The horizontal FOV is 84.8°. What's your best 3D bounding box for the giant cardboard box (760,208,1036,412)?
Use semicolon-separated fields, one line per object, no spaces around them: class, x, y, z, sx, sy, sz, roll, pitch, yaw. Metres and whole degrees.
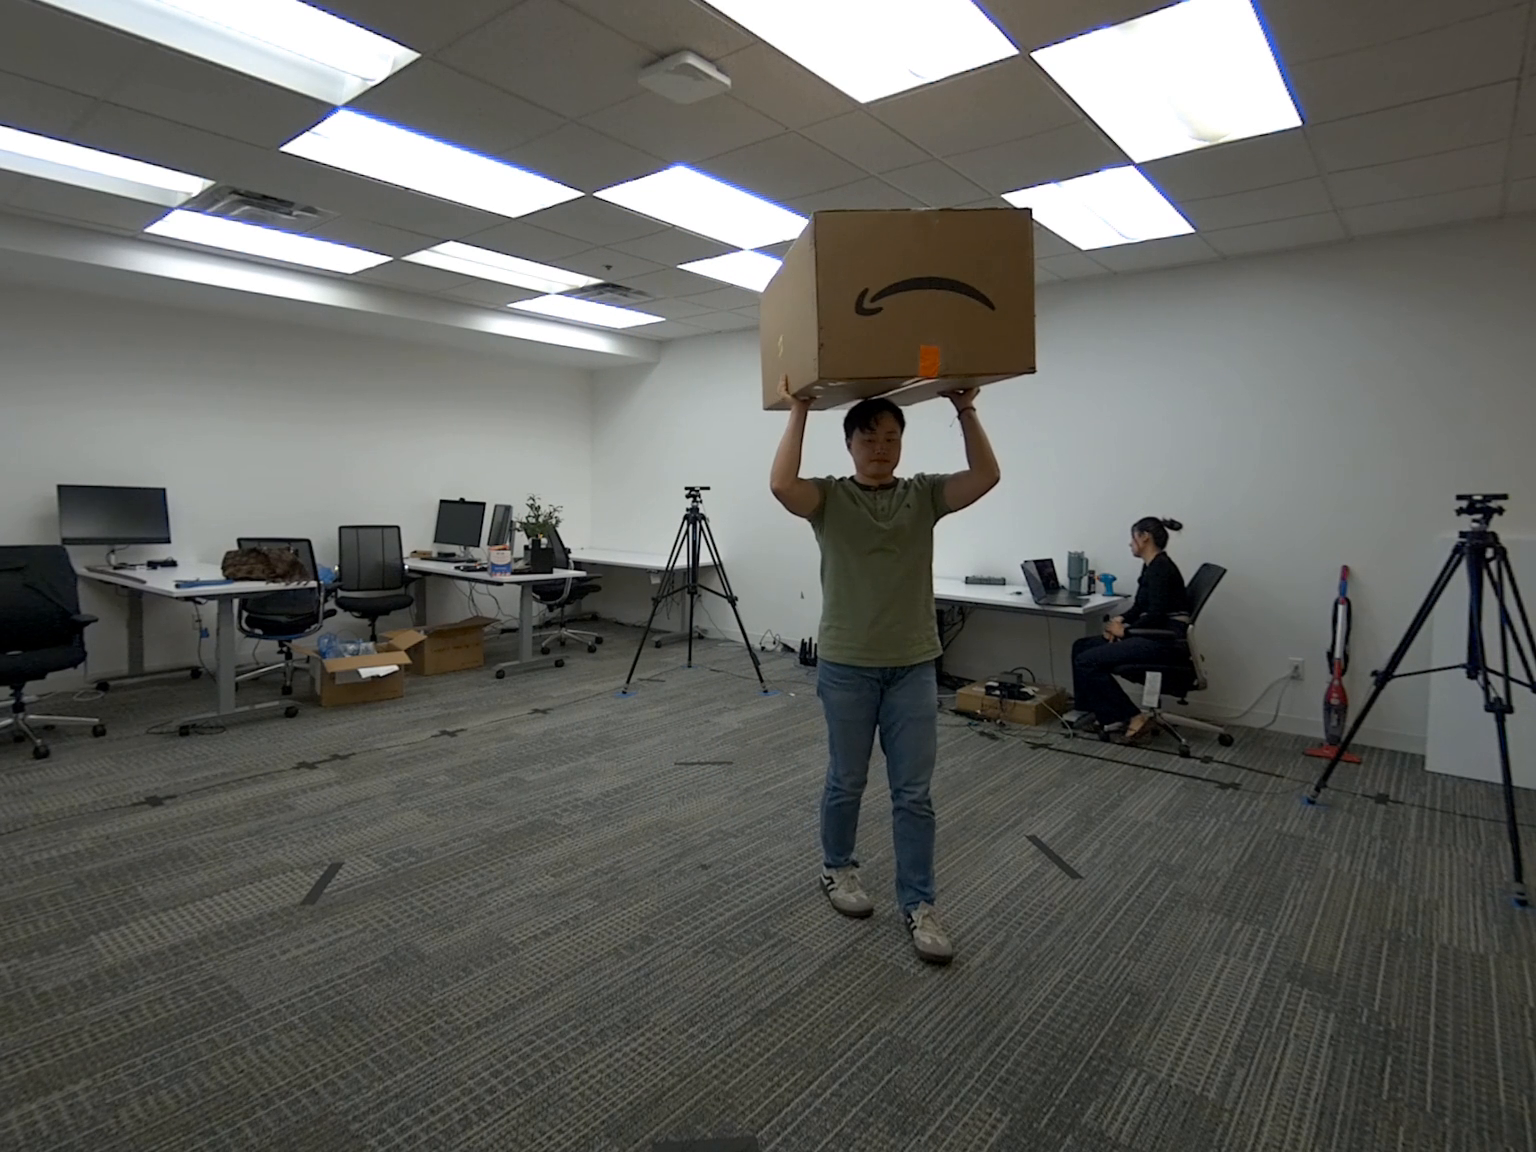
giant cardboard box;0.327;-0.782;2.672;0.574;0.424;1.039;-3;7;-7
